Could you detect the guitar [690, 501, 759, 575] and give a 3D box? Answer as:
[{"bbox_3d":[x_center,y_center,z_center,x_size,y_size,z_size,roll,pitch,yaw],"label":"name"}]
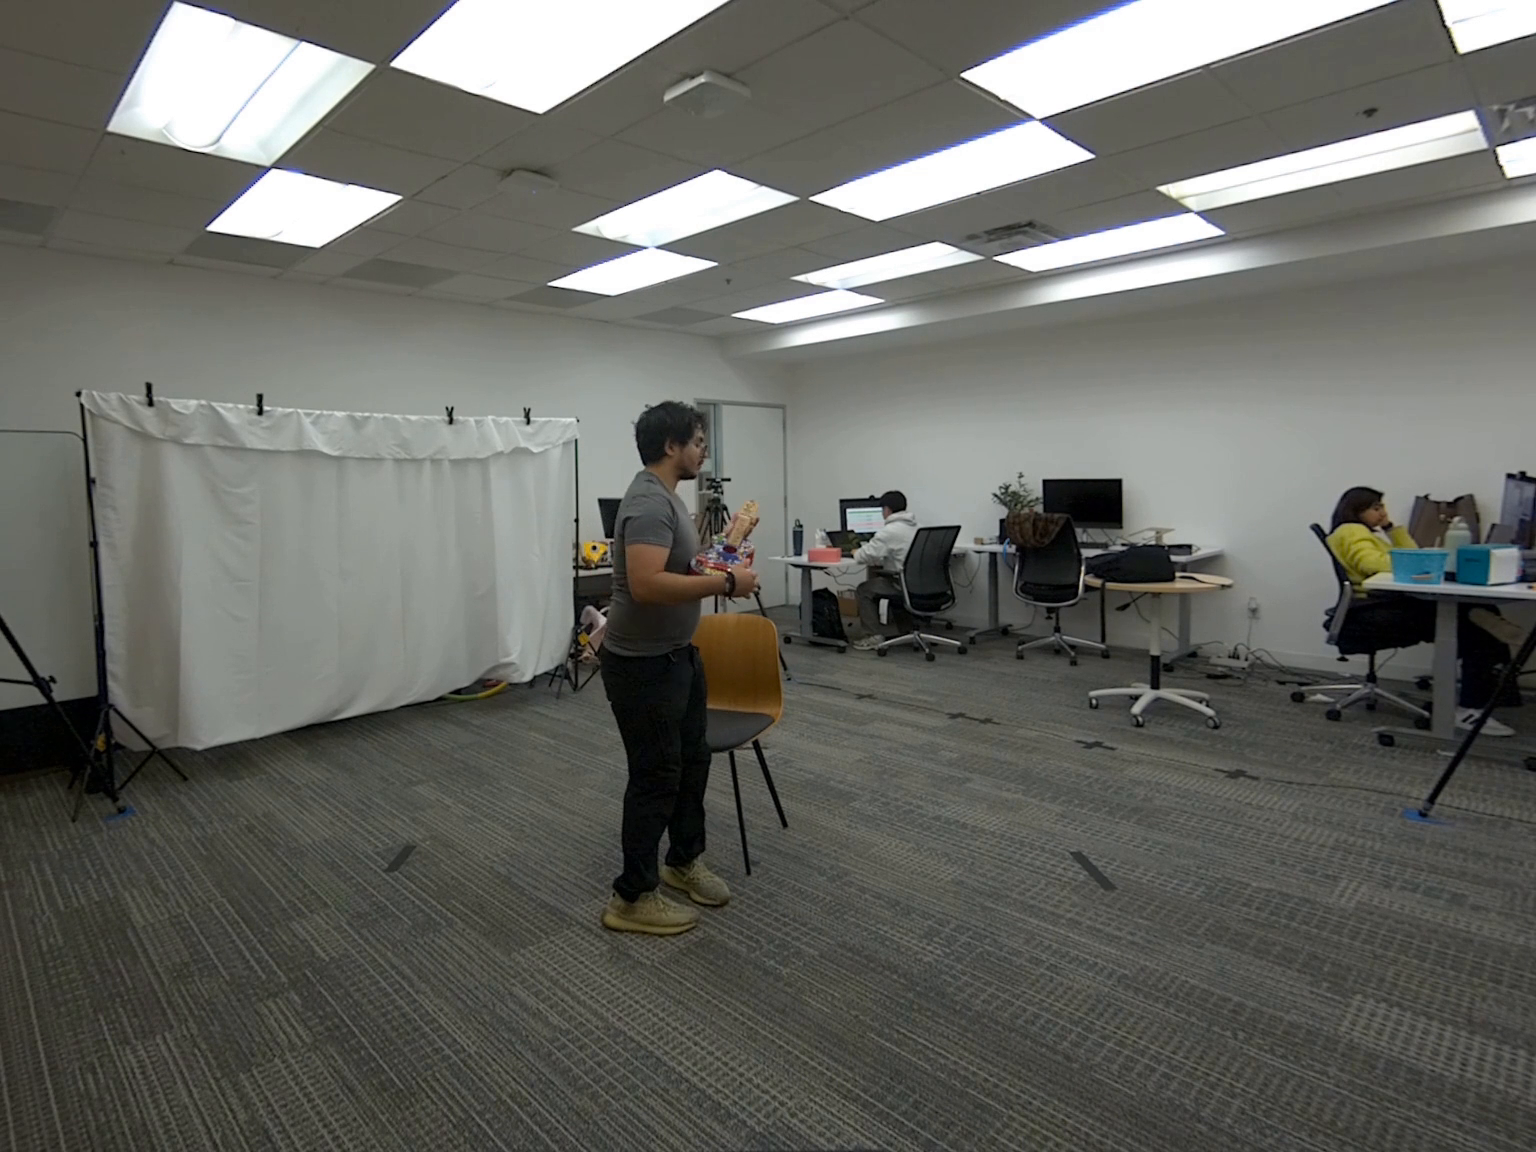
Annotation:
[{"bbox_3d":[-0.089,-0.090,2.784,0.196,0.069,0.500,19,37,12],"label":"guitar"}]
